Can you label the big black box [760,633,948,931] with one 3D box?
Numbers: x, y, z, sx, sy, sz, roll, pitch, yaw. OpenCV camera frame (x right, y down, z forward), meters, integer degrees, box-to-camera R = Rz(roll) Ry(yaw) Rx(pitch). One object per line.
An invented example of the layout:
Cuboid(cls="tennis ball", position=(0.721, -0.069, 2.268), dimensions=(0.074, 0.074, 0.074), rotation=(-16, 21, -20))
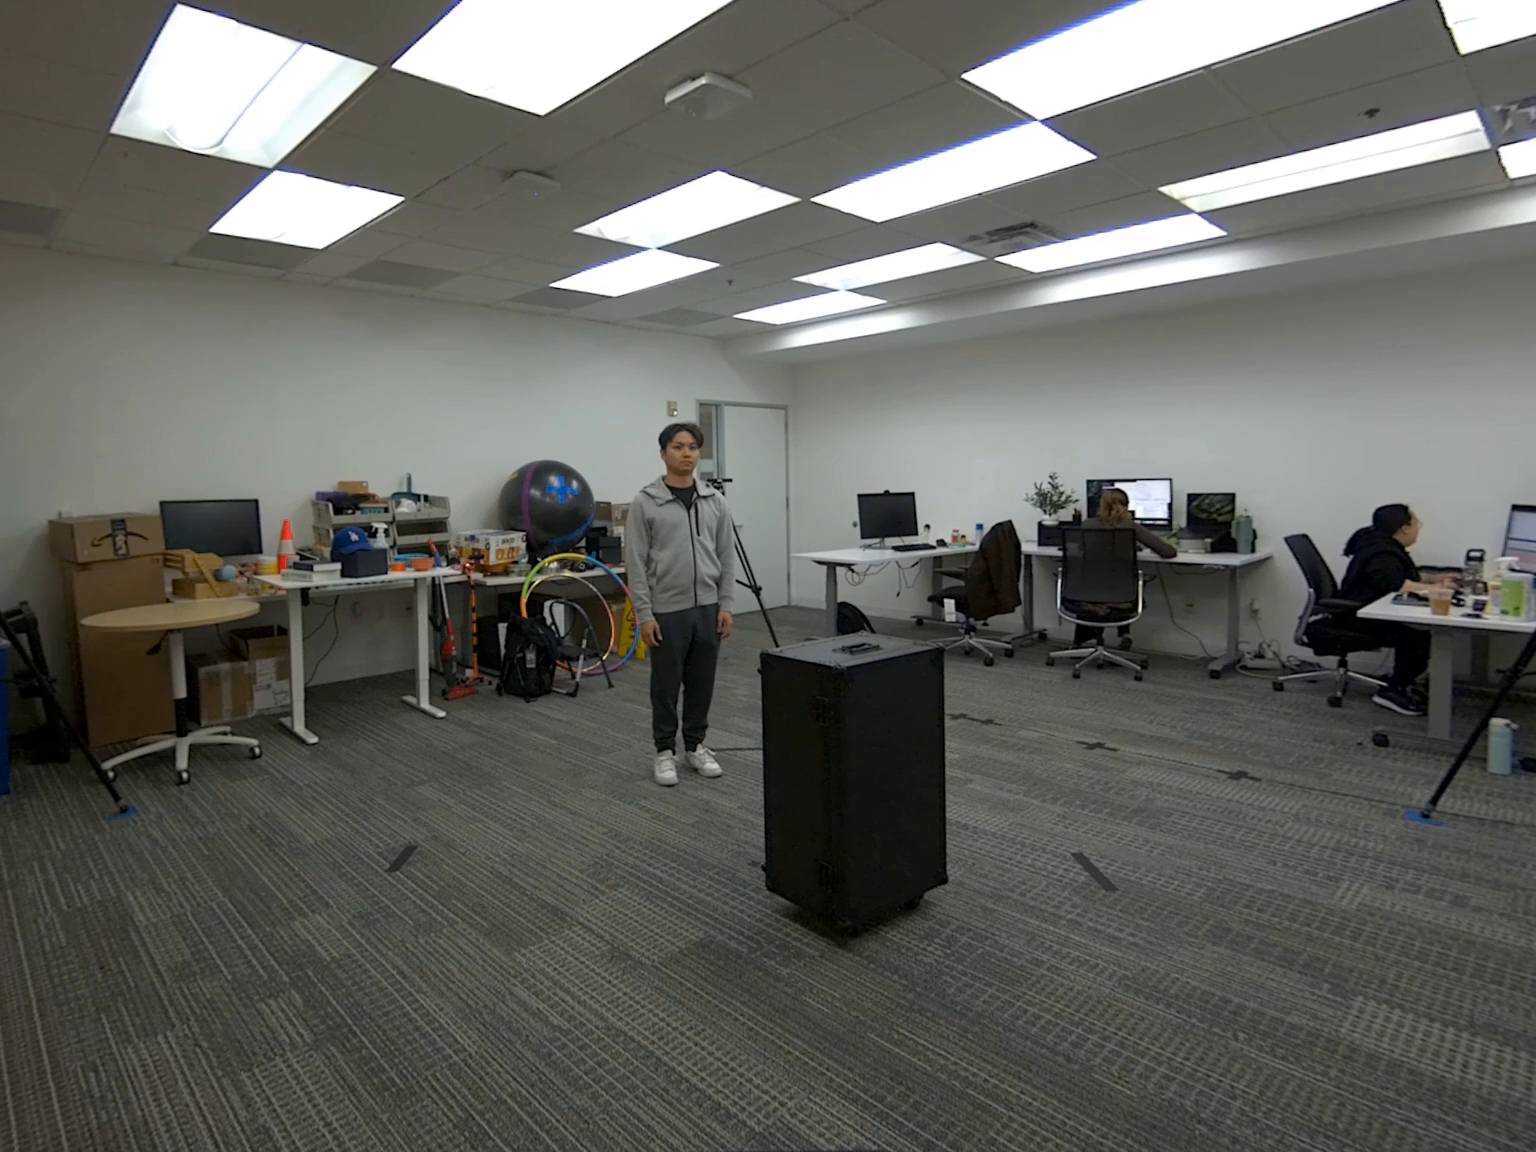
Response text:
Cuboid(cls="big black box", position=(0.272, 0.655, 2.760), dimensions=(0.507, 0.859, 0.408), rotation=(-4, 4, -39))
